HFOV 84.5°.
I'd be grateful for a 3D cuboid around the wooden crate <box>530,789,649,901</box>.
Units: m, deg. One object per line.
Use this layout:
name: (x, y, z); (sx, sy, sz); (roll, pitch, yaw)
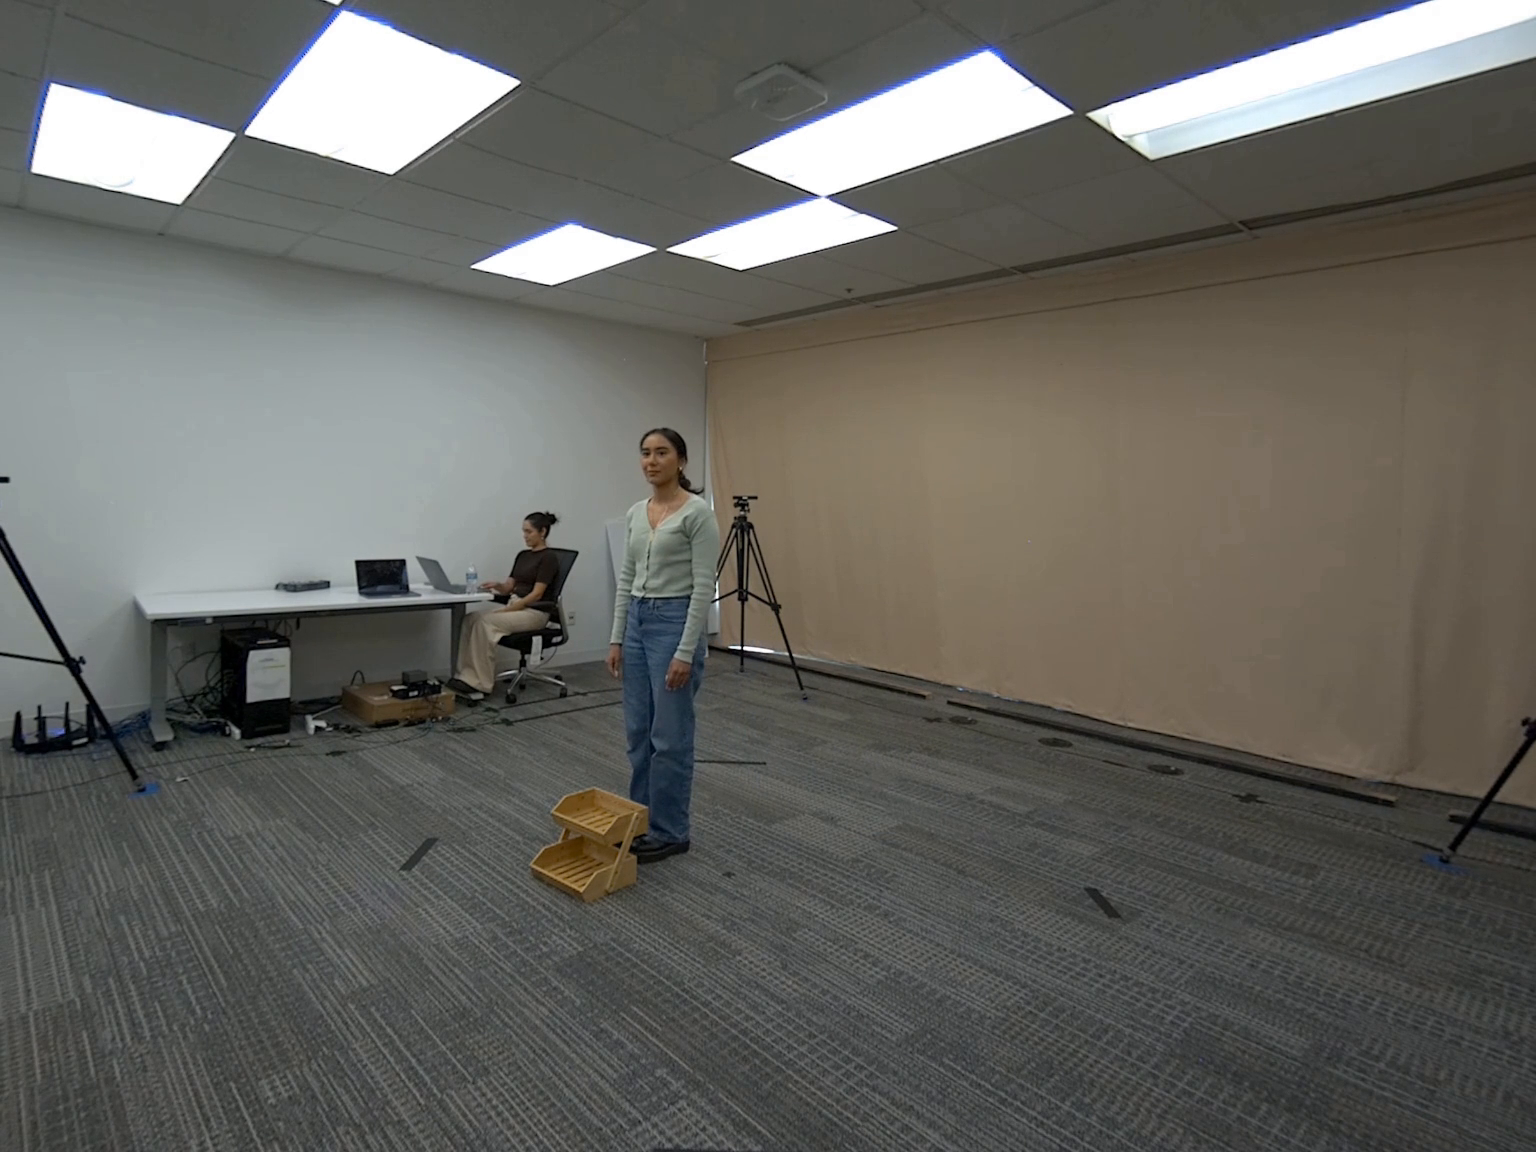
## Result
wooden crate: (-0.659, 0.963, 3.047); (0.333, 0.273, 0.295); (5, 5, 40)
